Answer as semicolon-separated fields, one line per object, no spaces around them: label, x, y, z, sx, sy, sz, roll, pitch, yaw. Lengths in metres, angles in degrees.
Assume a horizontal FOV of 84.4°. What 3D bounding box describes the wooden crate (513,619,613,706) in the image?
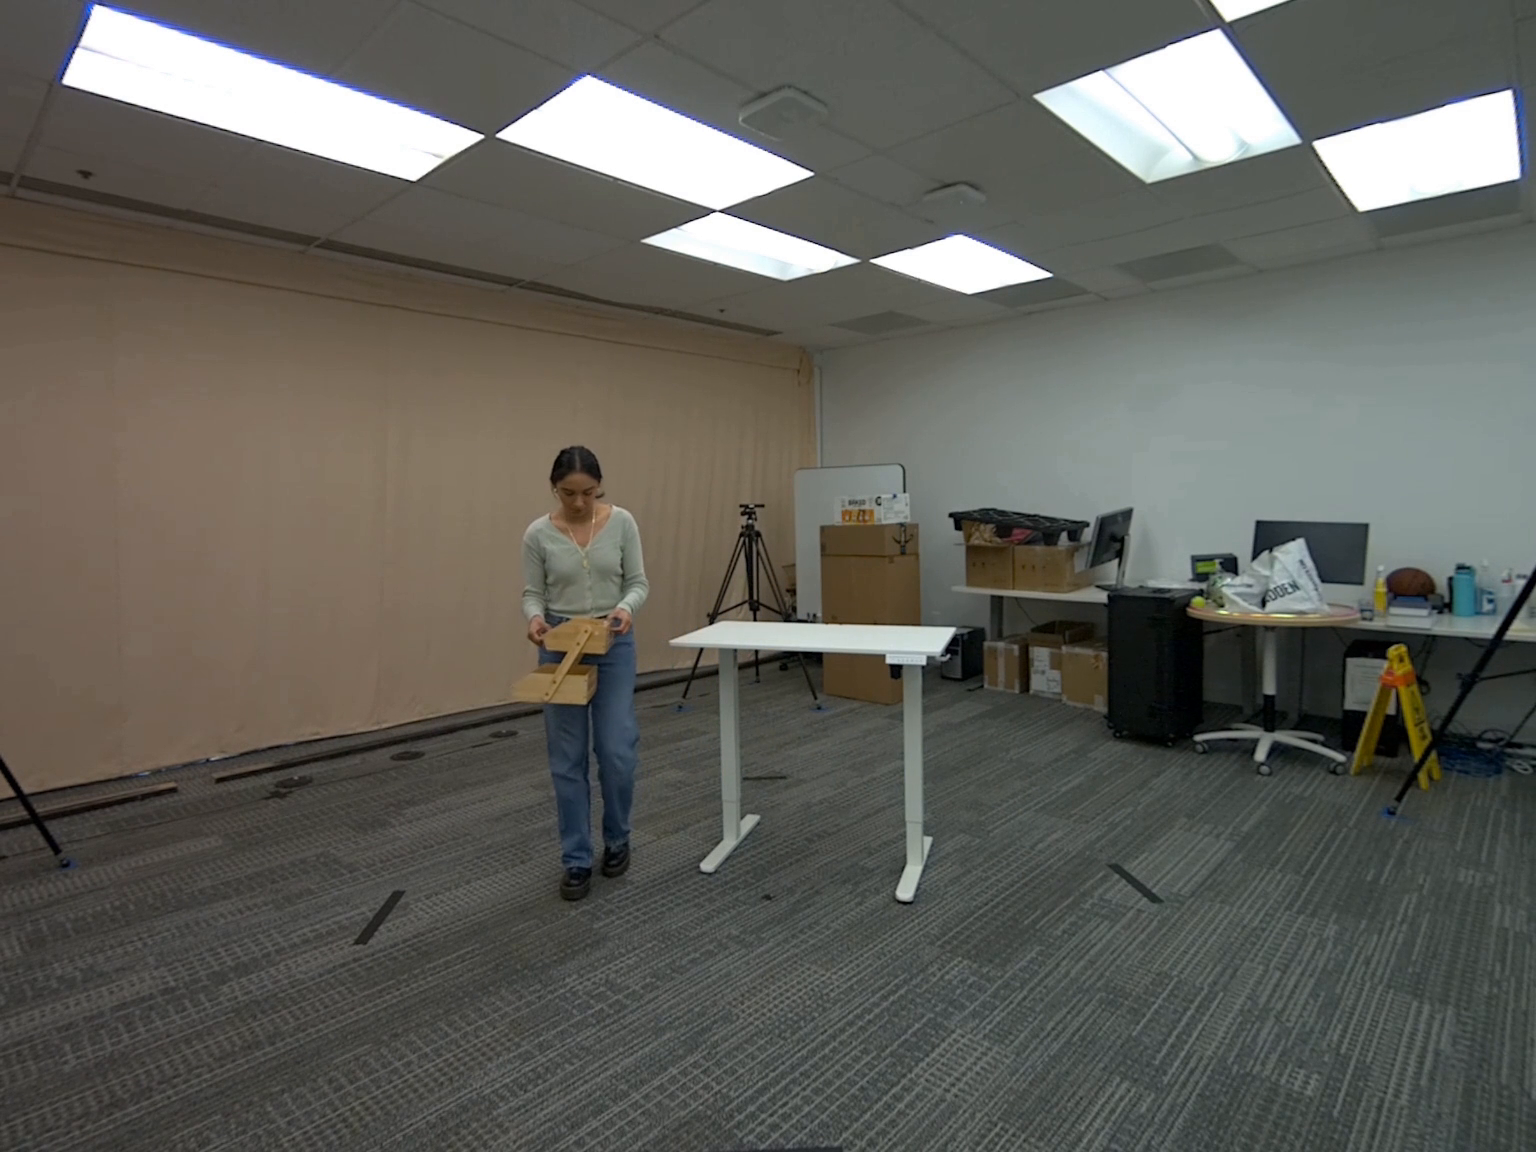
wooden crate;-0.704;0.272;2.893;0.301;0.273;0.325;5;0;-3
